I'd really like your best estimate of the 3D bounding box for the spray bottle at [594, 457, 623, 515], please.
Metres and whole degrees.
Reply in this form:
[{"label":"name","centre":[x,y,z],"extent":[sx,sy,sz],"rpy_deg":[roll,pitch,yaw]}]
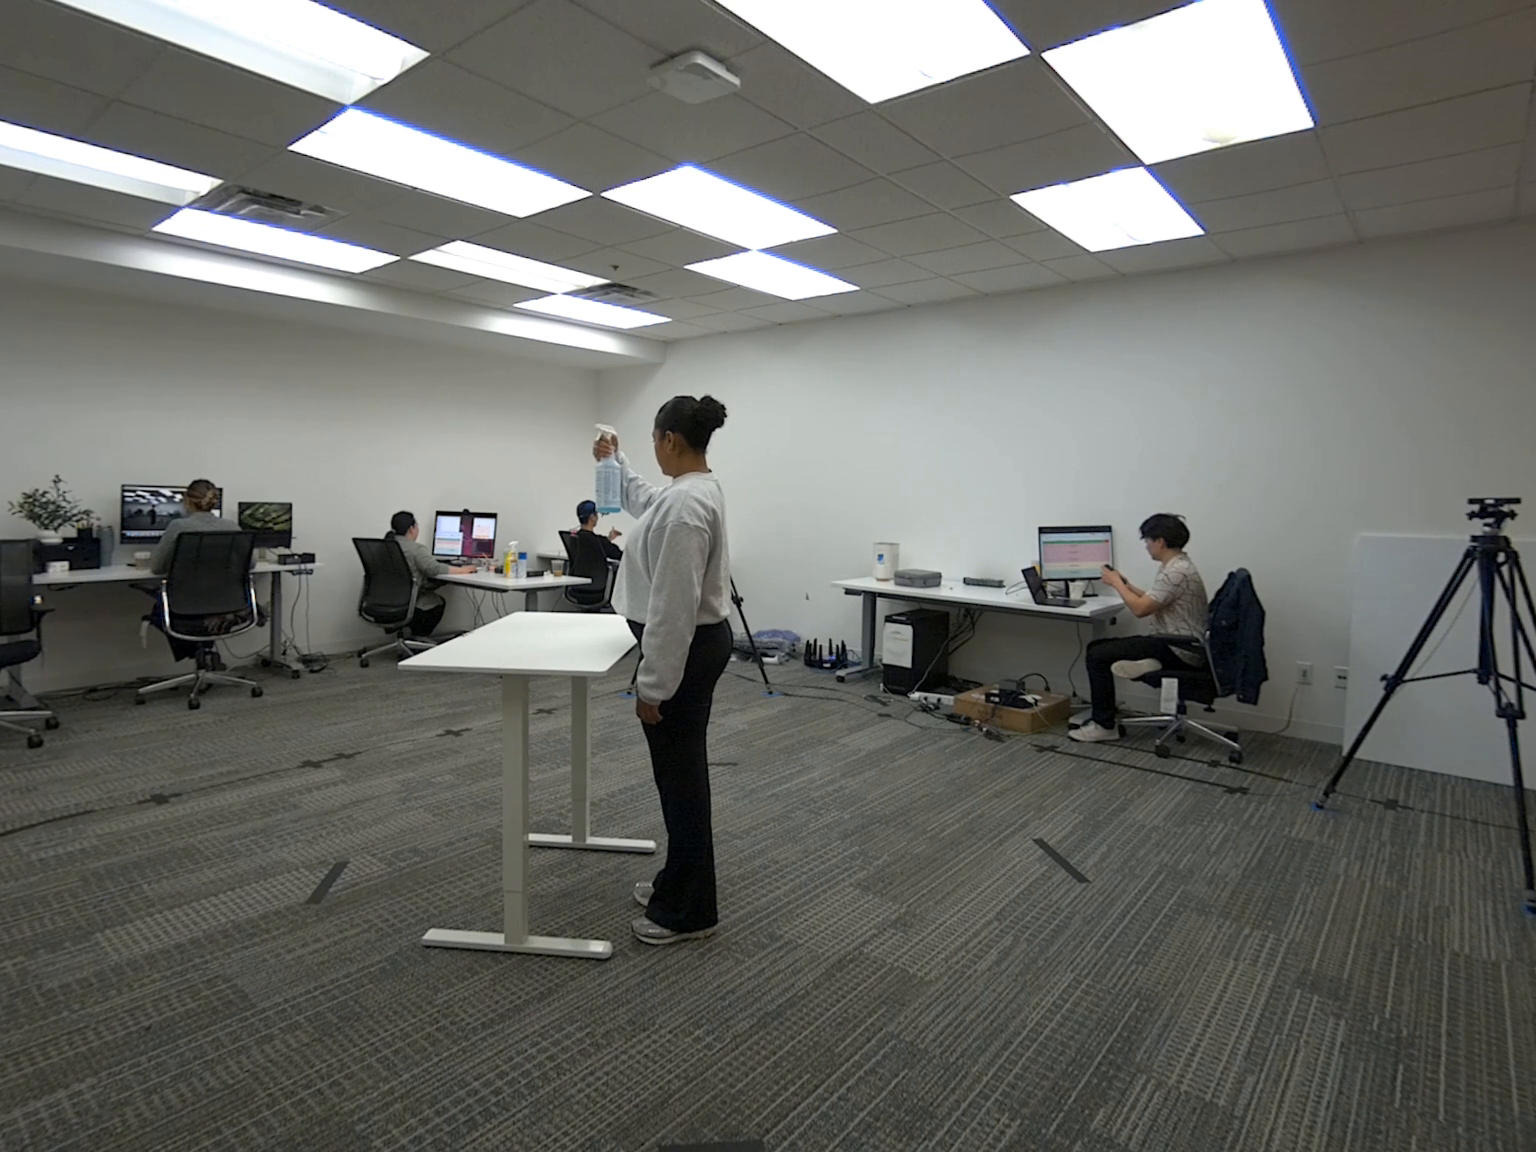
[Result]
[{"label":"spray bottle","centre":[-0.552,-0.359,2.900],"extent":[0.088,0.297,0.089],"rpy_deg":[-1,0,-25]}]
